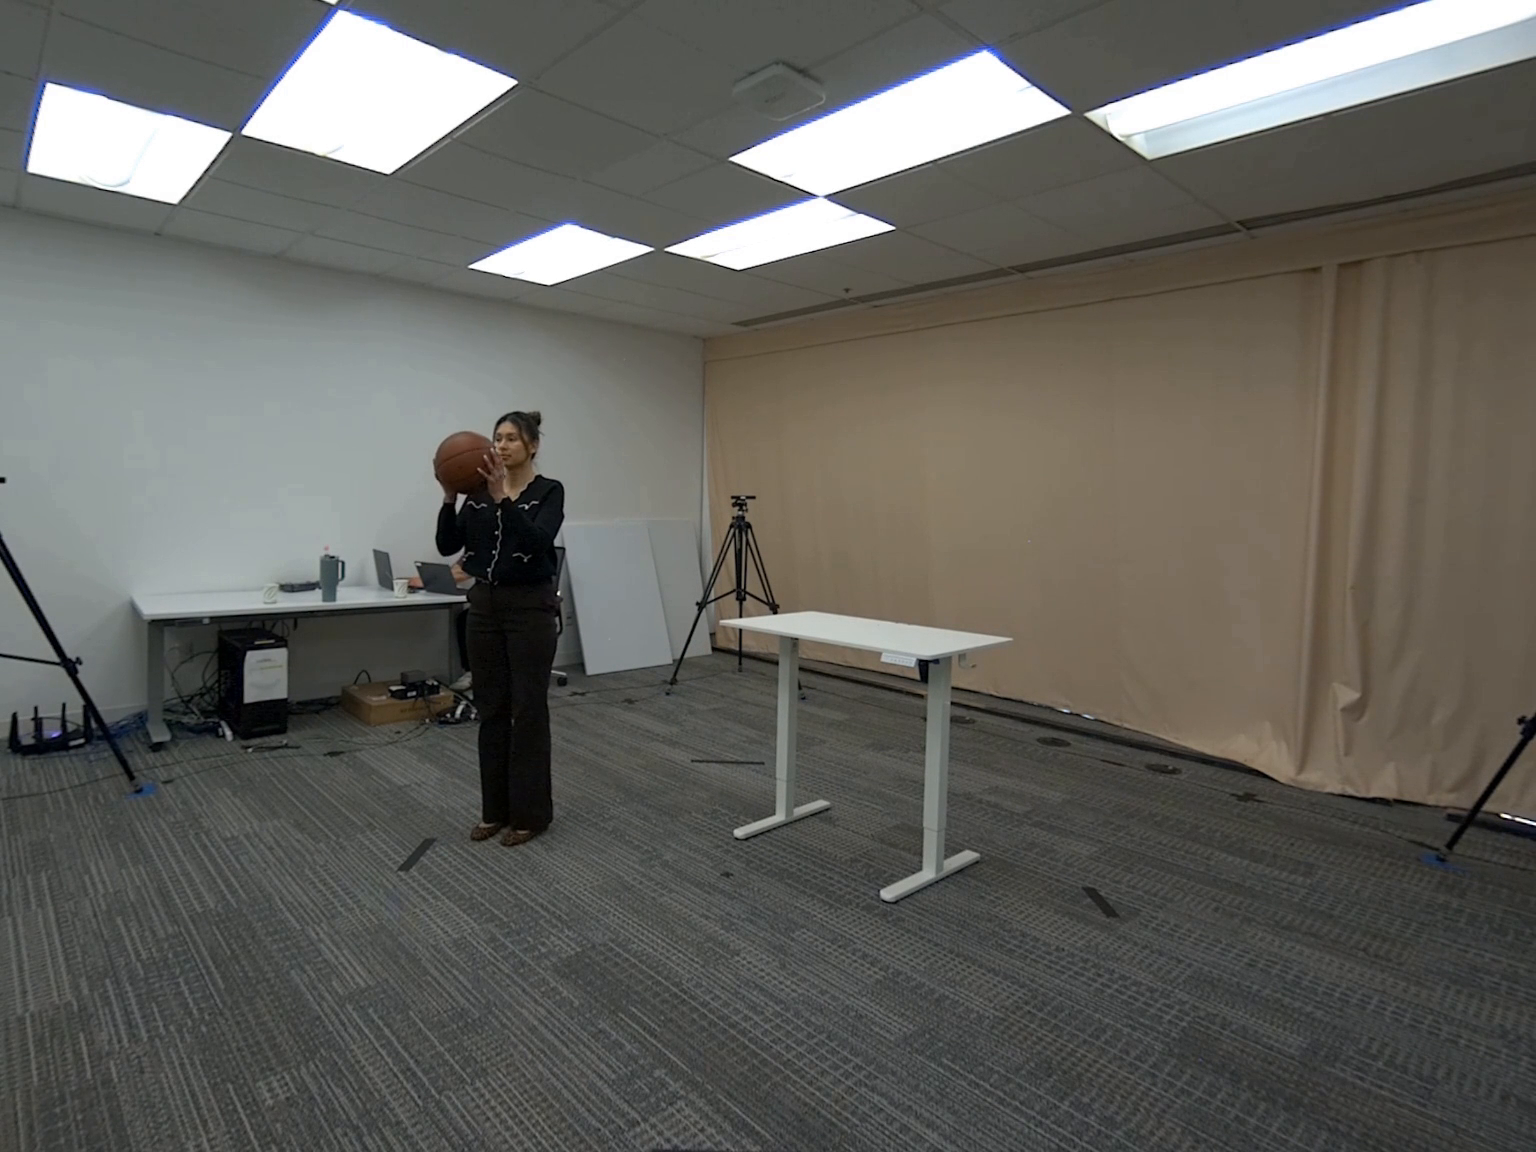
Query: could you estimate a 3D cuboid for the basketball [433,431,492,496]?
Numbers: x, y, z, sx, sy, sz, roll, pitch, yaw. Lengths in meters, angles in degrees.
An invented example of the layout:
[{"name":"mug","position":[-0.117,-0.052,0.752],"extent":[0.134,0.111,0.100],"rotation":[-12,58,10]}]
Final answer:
[{"name":"basketball","position":[-1.141,-0.422,3.132],"extent":[0.236,0.235,0.237],"rotation":[1,4,-1]}]
